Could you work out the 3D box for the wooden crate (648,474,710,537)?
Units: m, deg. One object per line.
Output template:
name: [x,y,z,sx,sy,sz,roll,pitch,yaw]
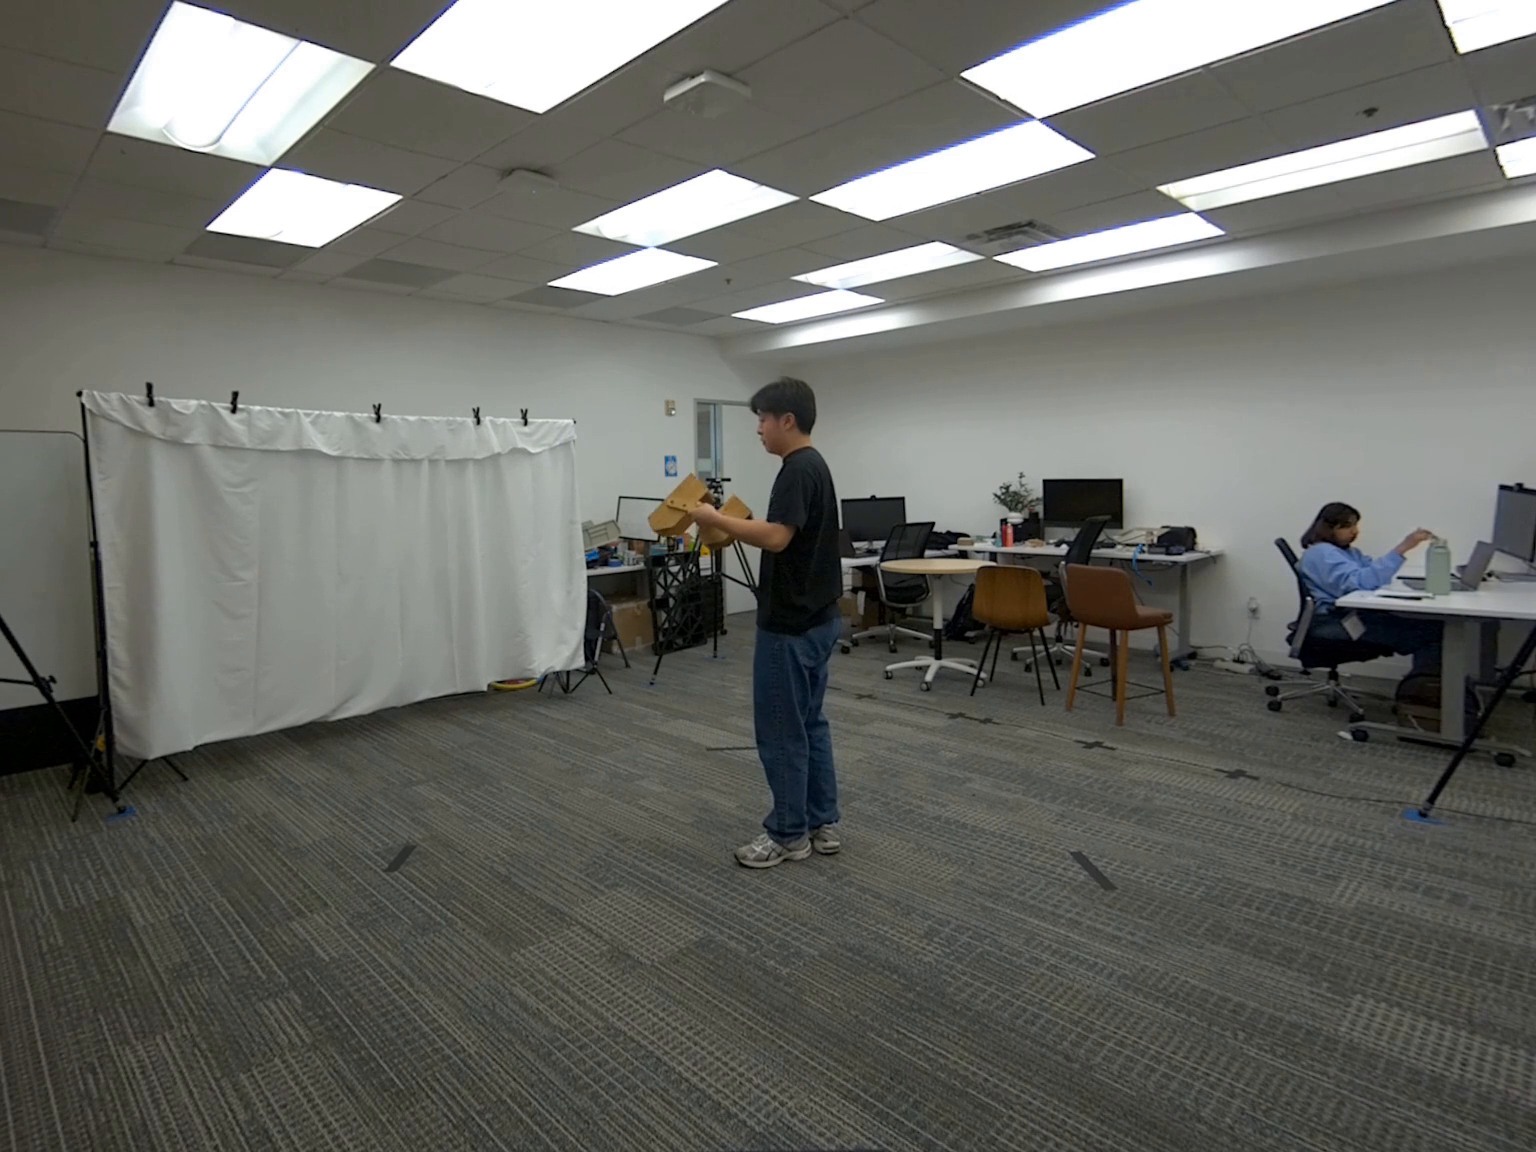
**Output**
wooden crate: [-0.244,-0.203,3.234,0.302,0.275,0.322,-46,-4,0]
